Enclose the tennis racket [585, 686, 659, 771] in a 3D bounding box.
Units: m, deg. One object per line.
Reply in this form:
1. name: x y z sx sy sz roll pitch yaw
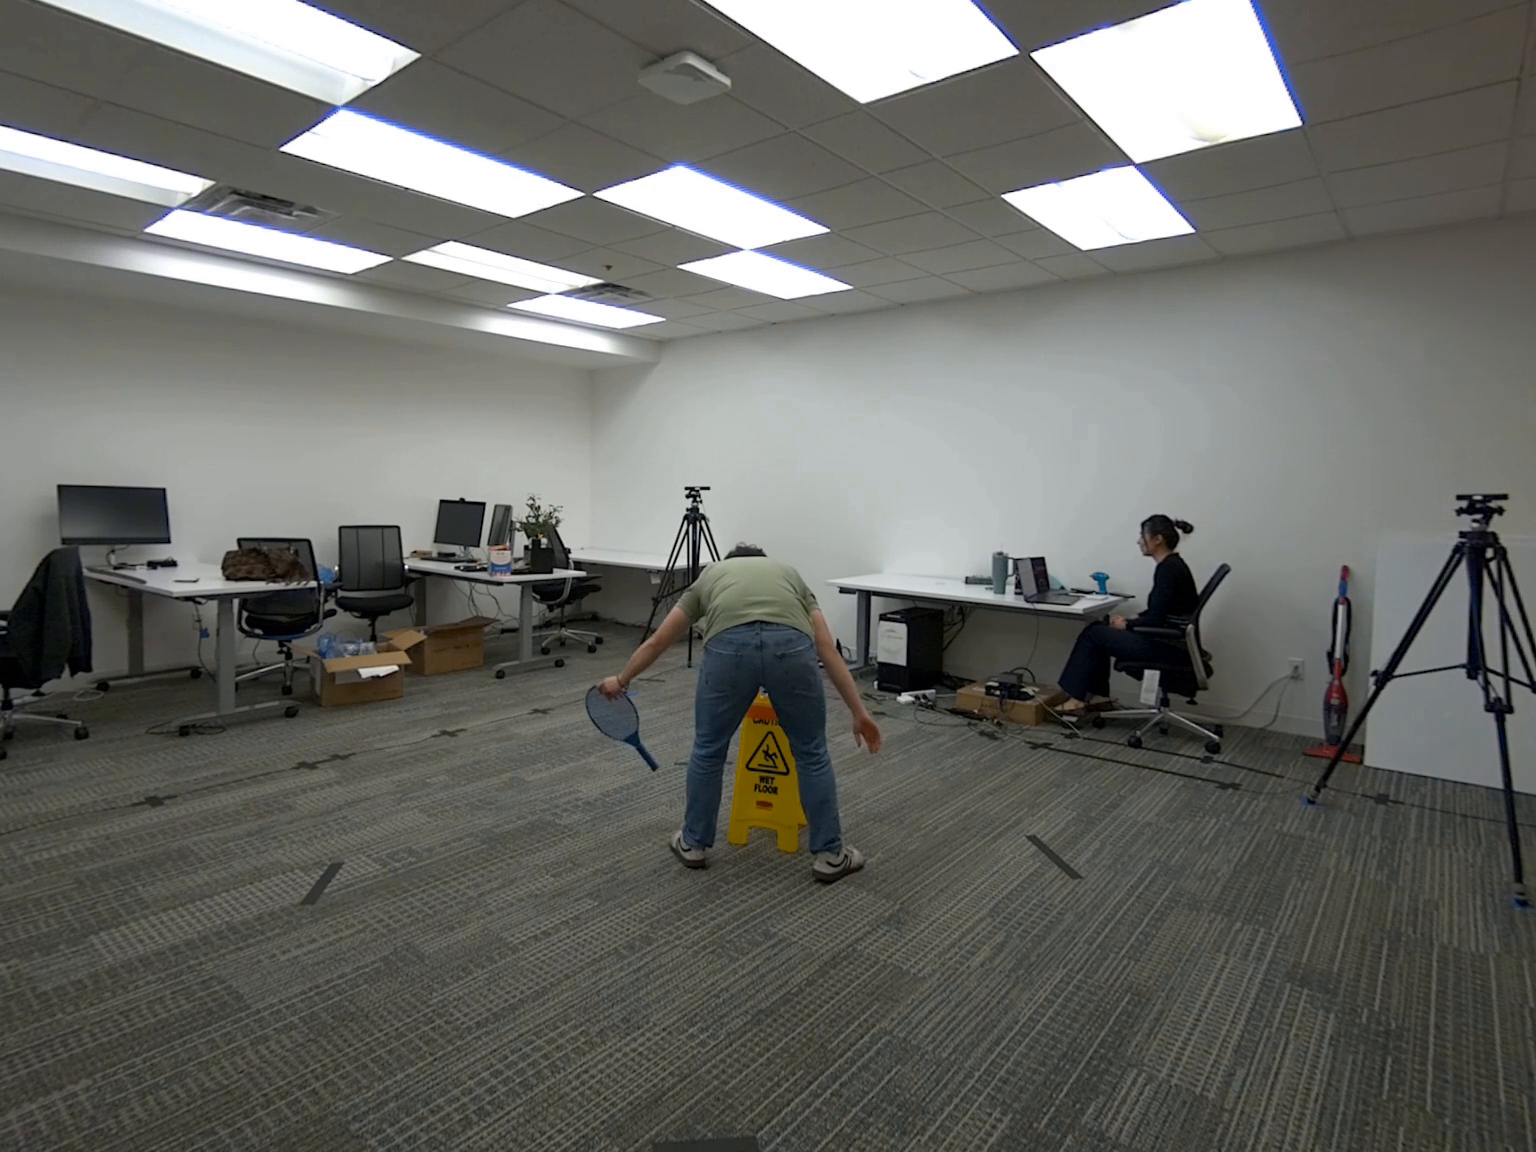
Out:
1. tennis racket: -0.602 0.641 3.515 0.215 0.432 0.031 -34 1 19
